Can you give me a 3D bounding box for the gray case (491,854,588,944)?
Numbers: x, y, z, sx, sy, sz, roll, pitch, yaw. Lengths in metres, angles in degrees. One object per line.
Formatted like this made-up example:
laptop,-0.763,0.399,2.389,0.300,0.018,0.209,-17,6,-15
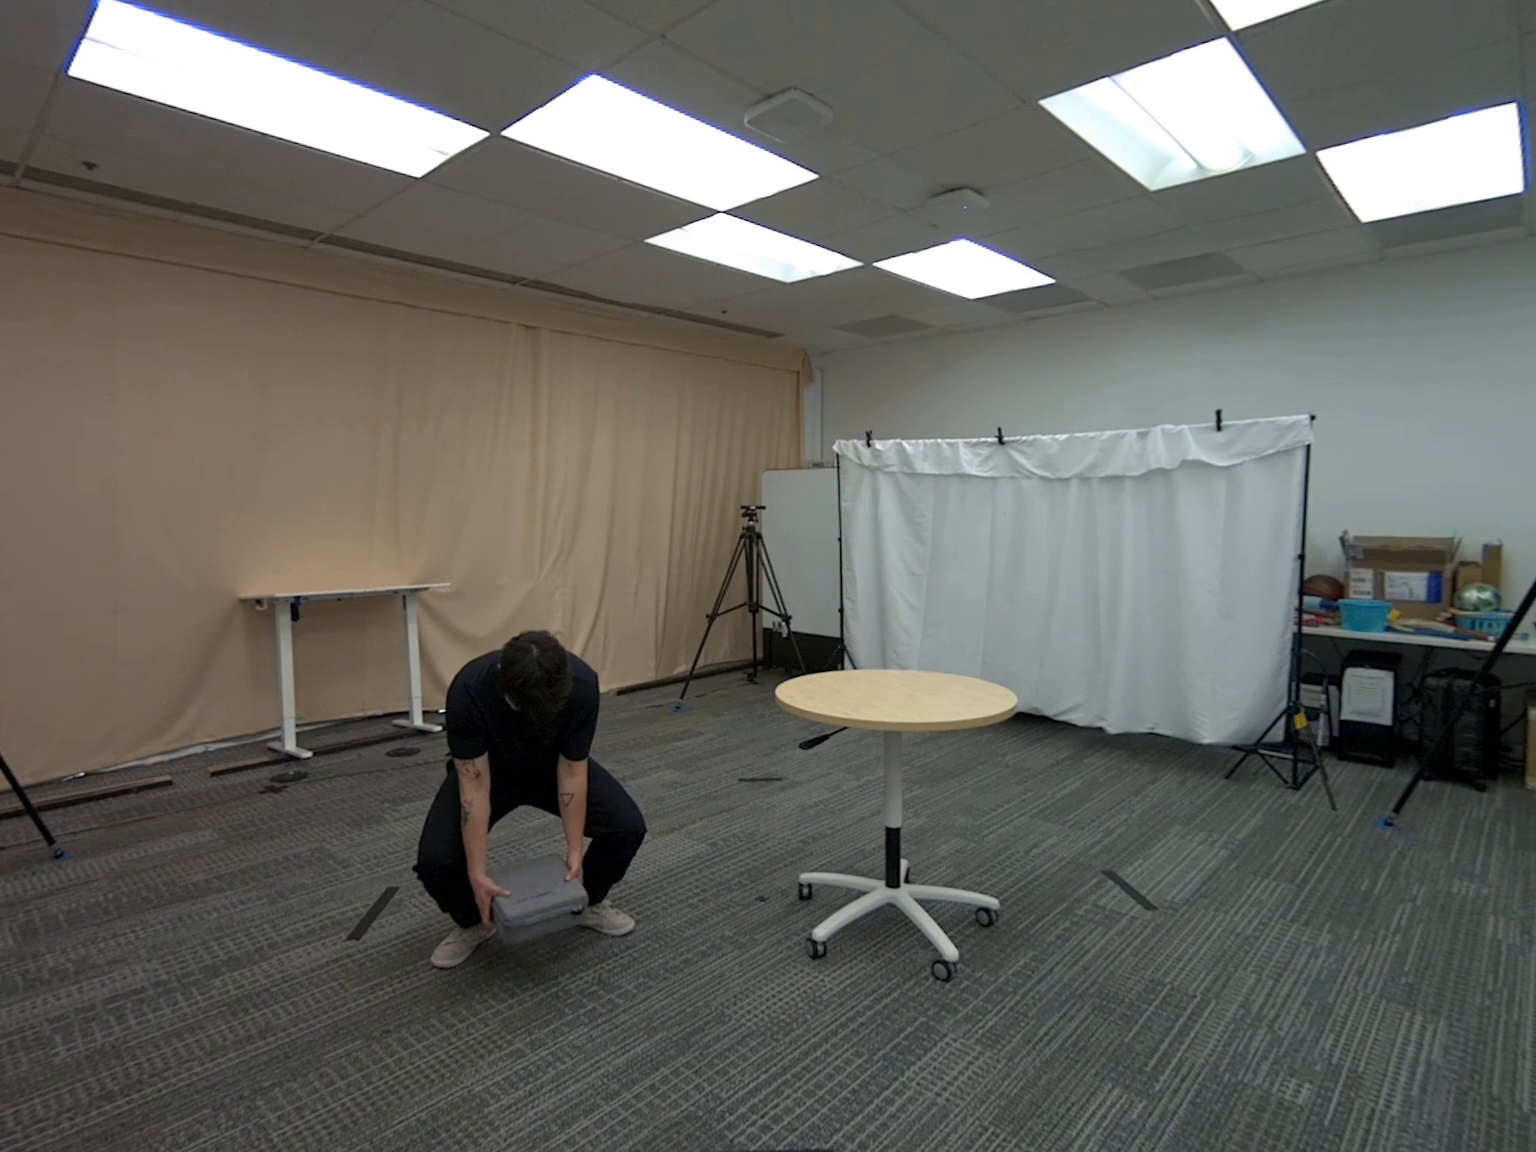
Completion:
gray case,-0.689,0.933,2.448,0.250,0.103,0.269,-5,15,-31
